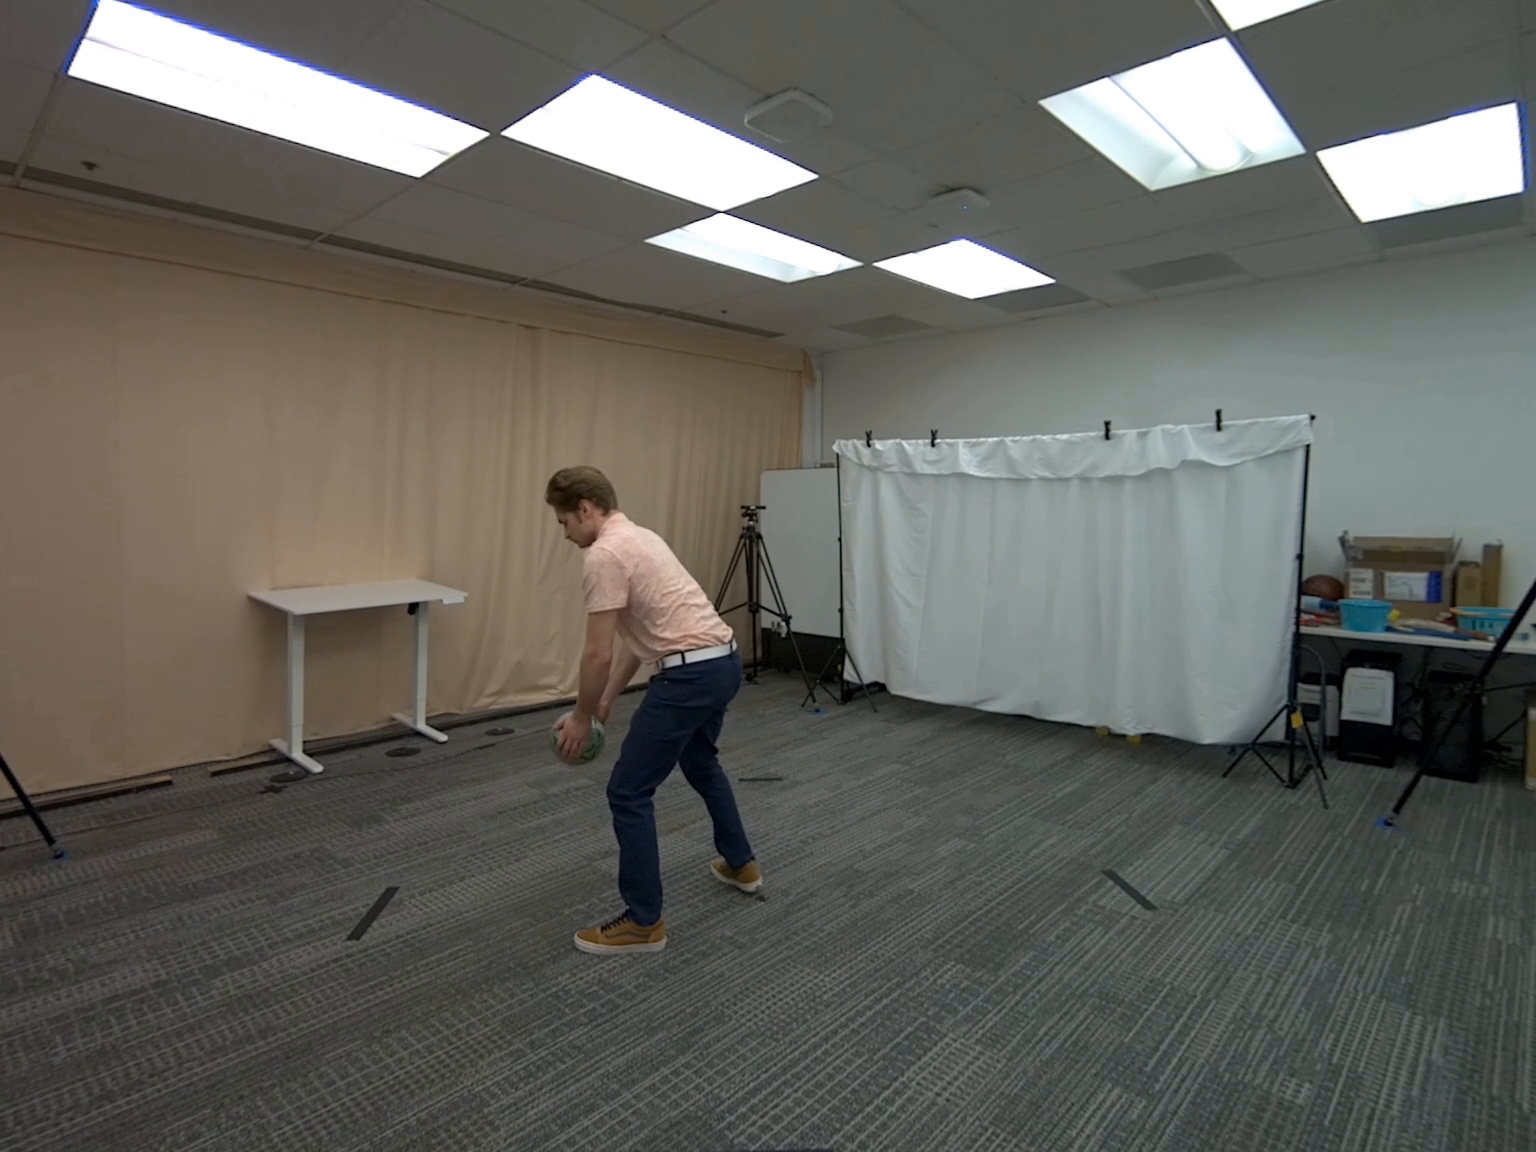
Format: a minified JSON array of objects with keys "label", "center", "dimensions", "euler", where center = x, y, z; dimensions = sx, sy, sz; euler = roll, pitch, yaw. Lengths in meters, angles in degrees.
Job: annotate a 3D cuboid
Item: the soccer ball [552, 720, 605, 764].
[{"label":"soccer ball","center":[-0.649,0.553,2.882],"dimensions":[0.187,0.187,0.188],"euler":[0,4,-2]}]
